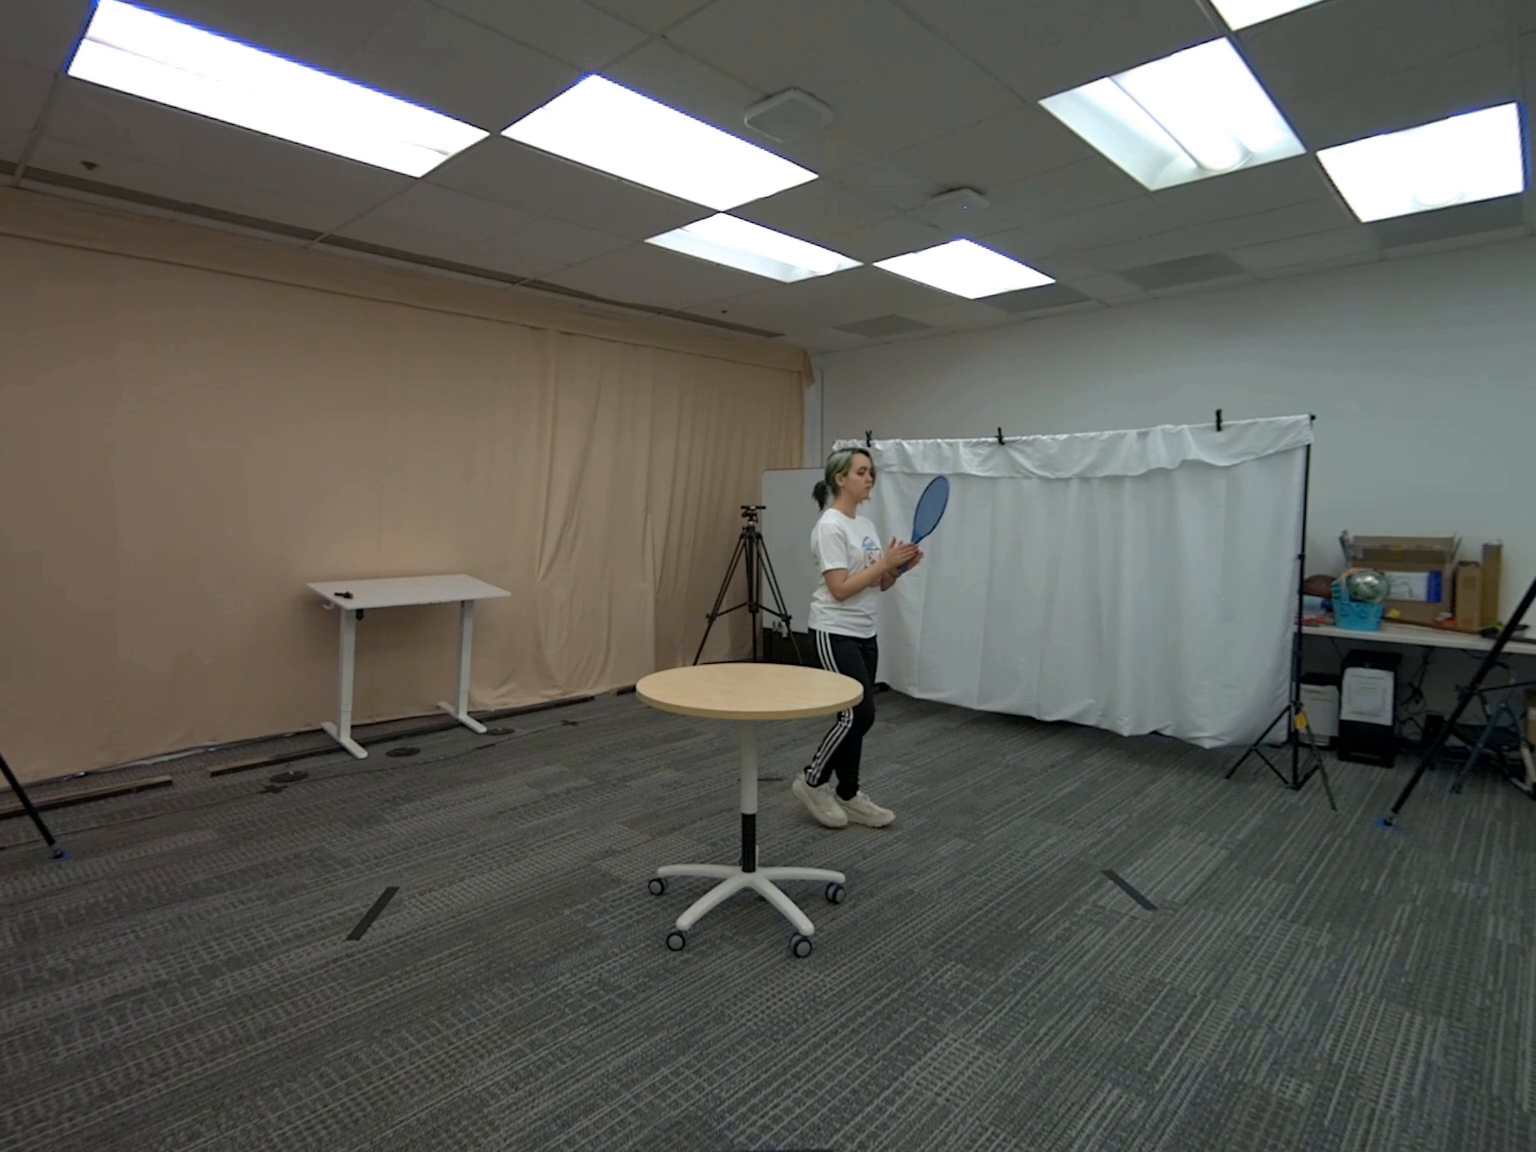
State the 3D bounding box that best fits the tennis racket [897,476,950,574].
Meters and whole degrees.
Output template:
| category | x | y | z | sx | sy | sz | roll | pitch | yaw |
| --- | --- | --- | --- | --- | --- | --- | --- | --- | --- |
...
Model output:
| category | x | y | z | sx | sy | sz | roll | pitch | yaw |
| --- | --- | --- | --- | --- | --- | --- | --- | --- | --- |
| tennis racket | 0.635 | -0.217 | 3.444 | 0.031 | 0.431 | 0.218 | 15 | 29 | -17 |
